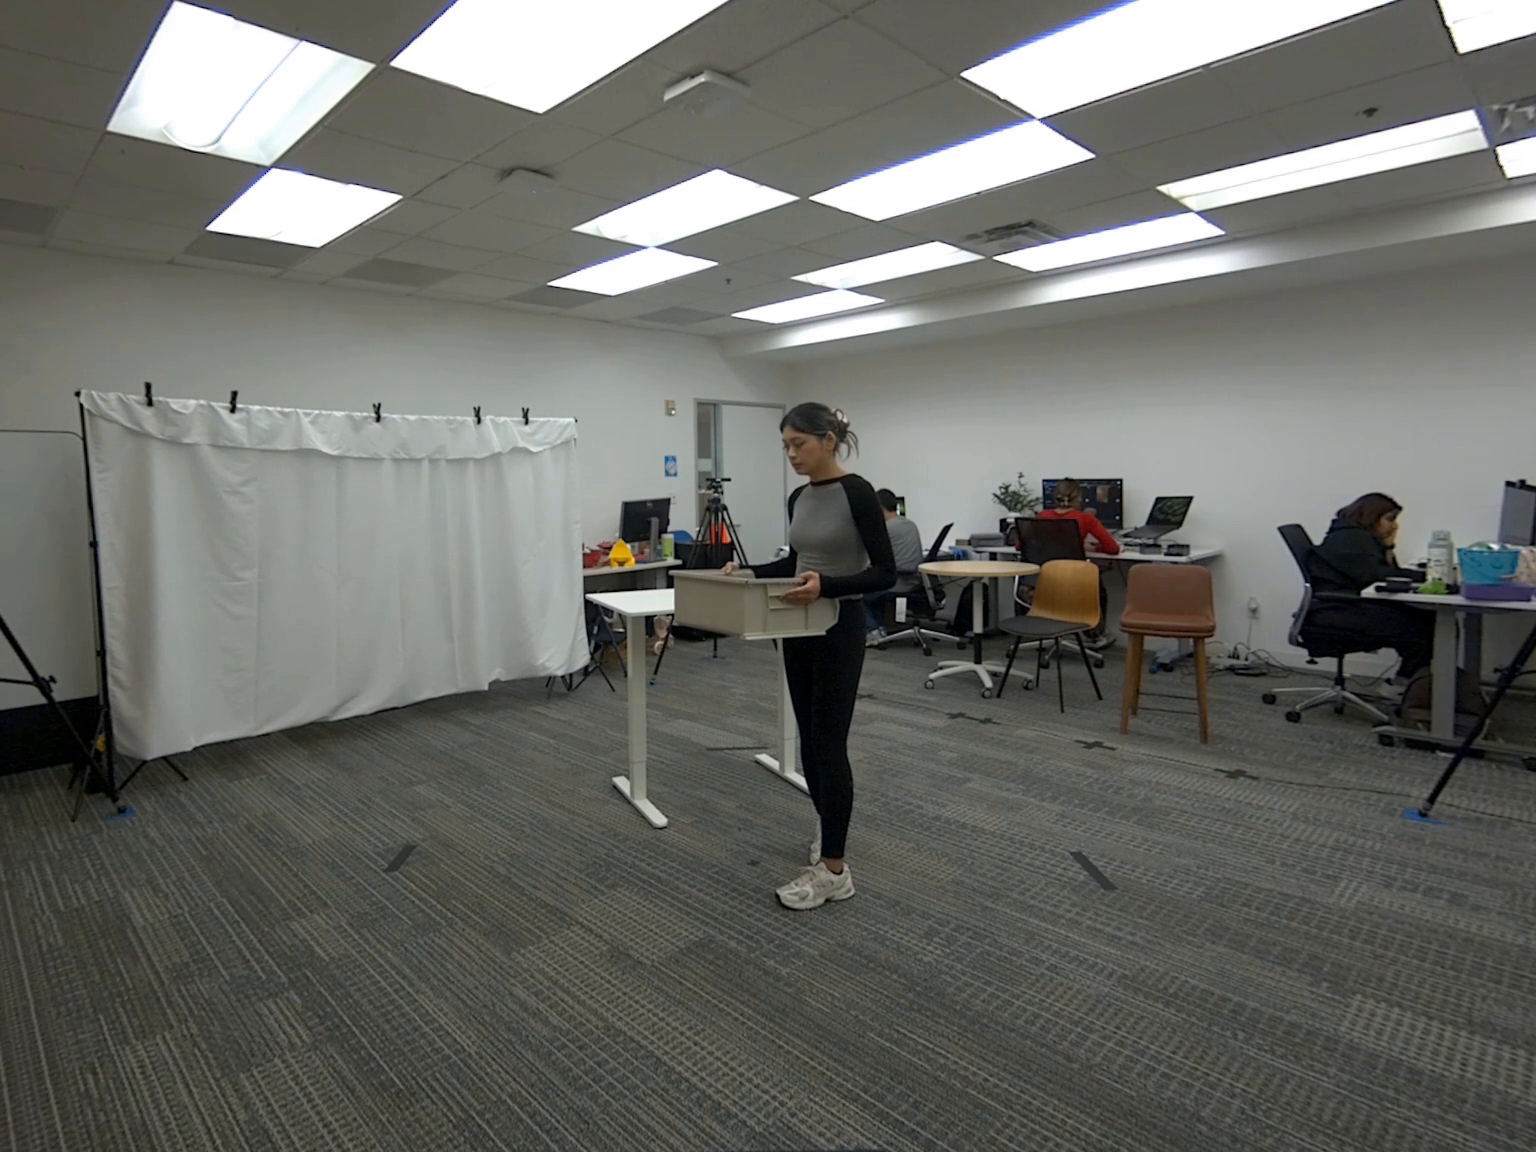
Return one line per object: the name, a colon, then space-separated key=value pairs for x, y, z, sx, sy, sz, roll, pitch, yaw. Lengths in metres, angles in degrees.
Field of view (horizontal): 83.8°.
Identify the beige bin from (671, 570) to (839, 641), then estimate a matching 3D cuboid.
beige bin: x=-0.044 y=0.082 z=2.762 sx=0.367 sy=0.188 sz=0.435 roll=-3 pitch=7 yaw=-36
